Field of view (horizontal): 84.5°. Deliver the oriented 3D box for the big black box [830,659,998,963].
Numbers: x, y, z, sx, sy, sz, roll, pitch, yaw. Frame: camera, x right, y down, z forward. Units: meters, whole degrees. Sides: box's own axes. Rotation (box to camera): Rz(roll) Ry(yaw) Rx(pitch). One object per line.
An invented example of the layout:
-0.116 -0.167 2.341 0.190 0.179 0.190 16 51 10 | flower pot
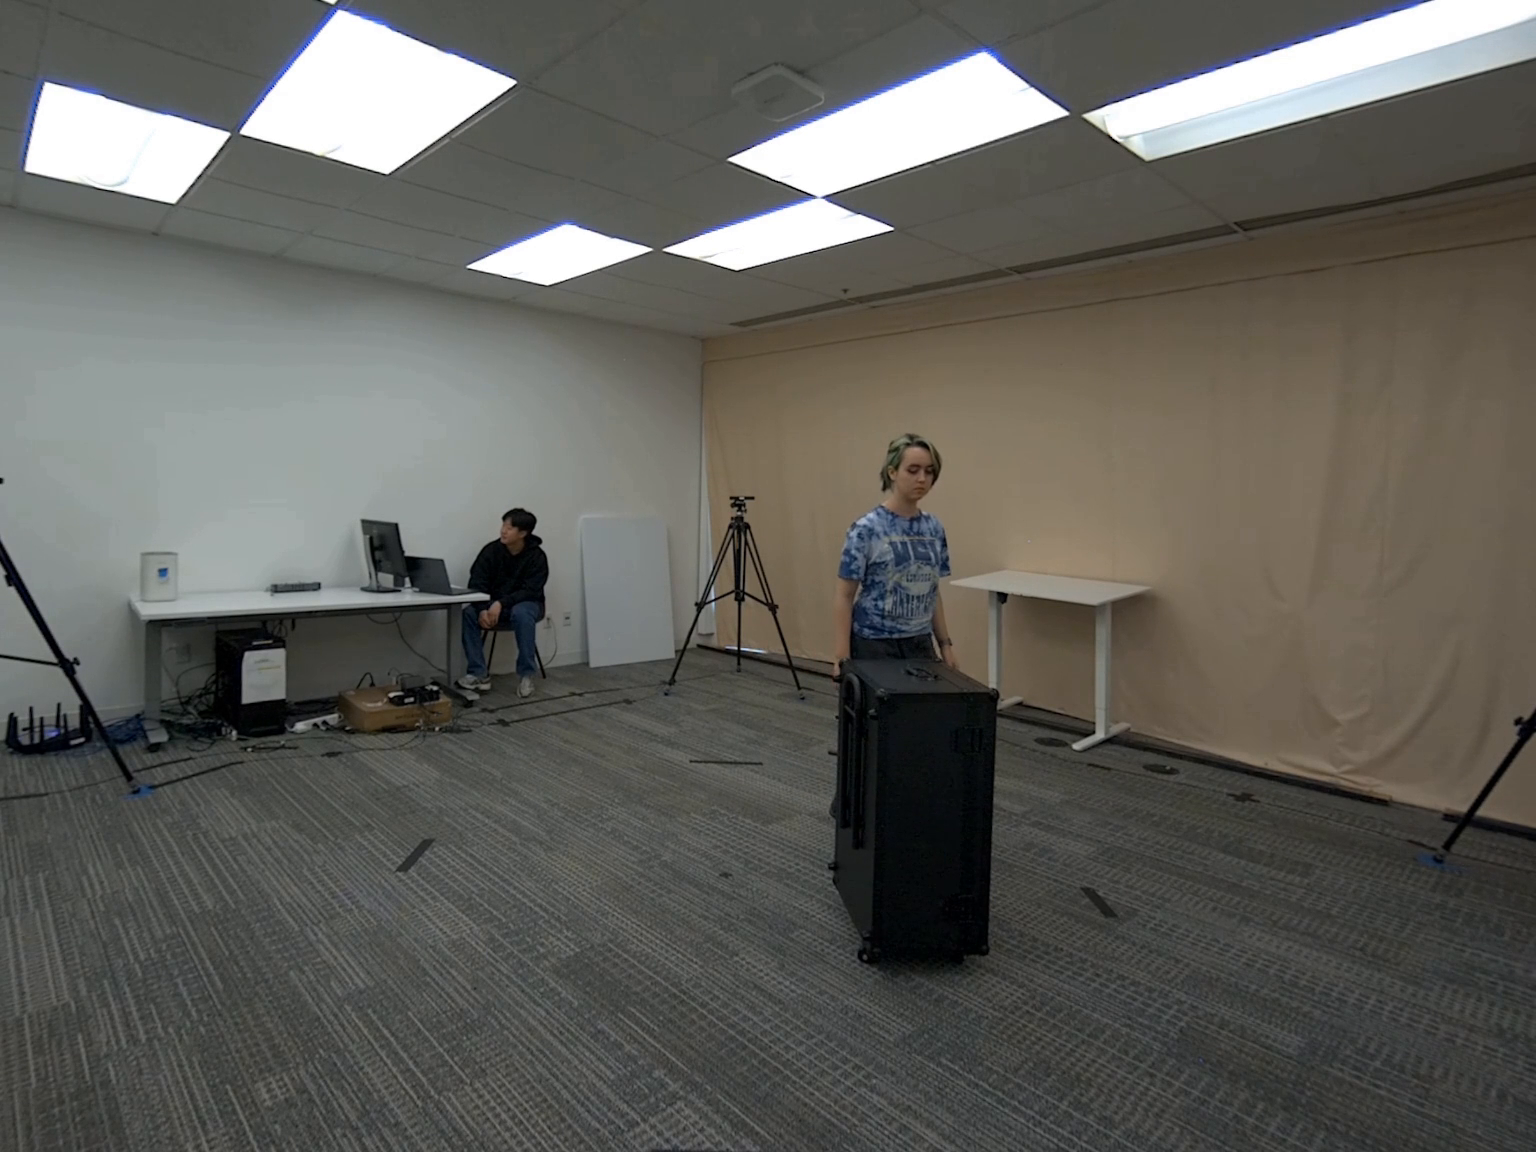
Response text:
0.431 0.739 2.658 0.394 0.859 0.526 0 4 -7 | big black box
